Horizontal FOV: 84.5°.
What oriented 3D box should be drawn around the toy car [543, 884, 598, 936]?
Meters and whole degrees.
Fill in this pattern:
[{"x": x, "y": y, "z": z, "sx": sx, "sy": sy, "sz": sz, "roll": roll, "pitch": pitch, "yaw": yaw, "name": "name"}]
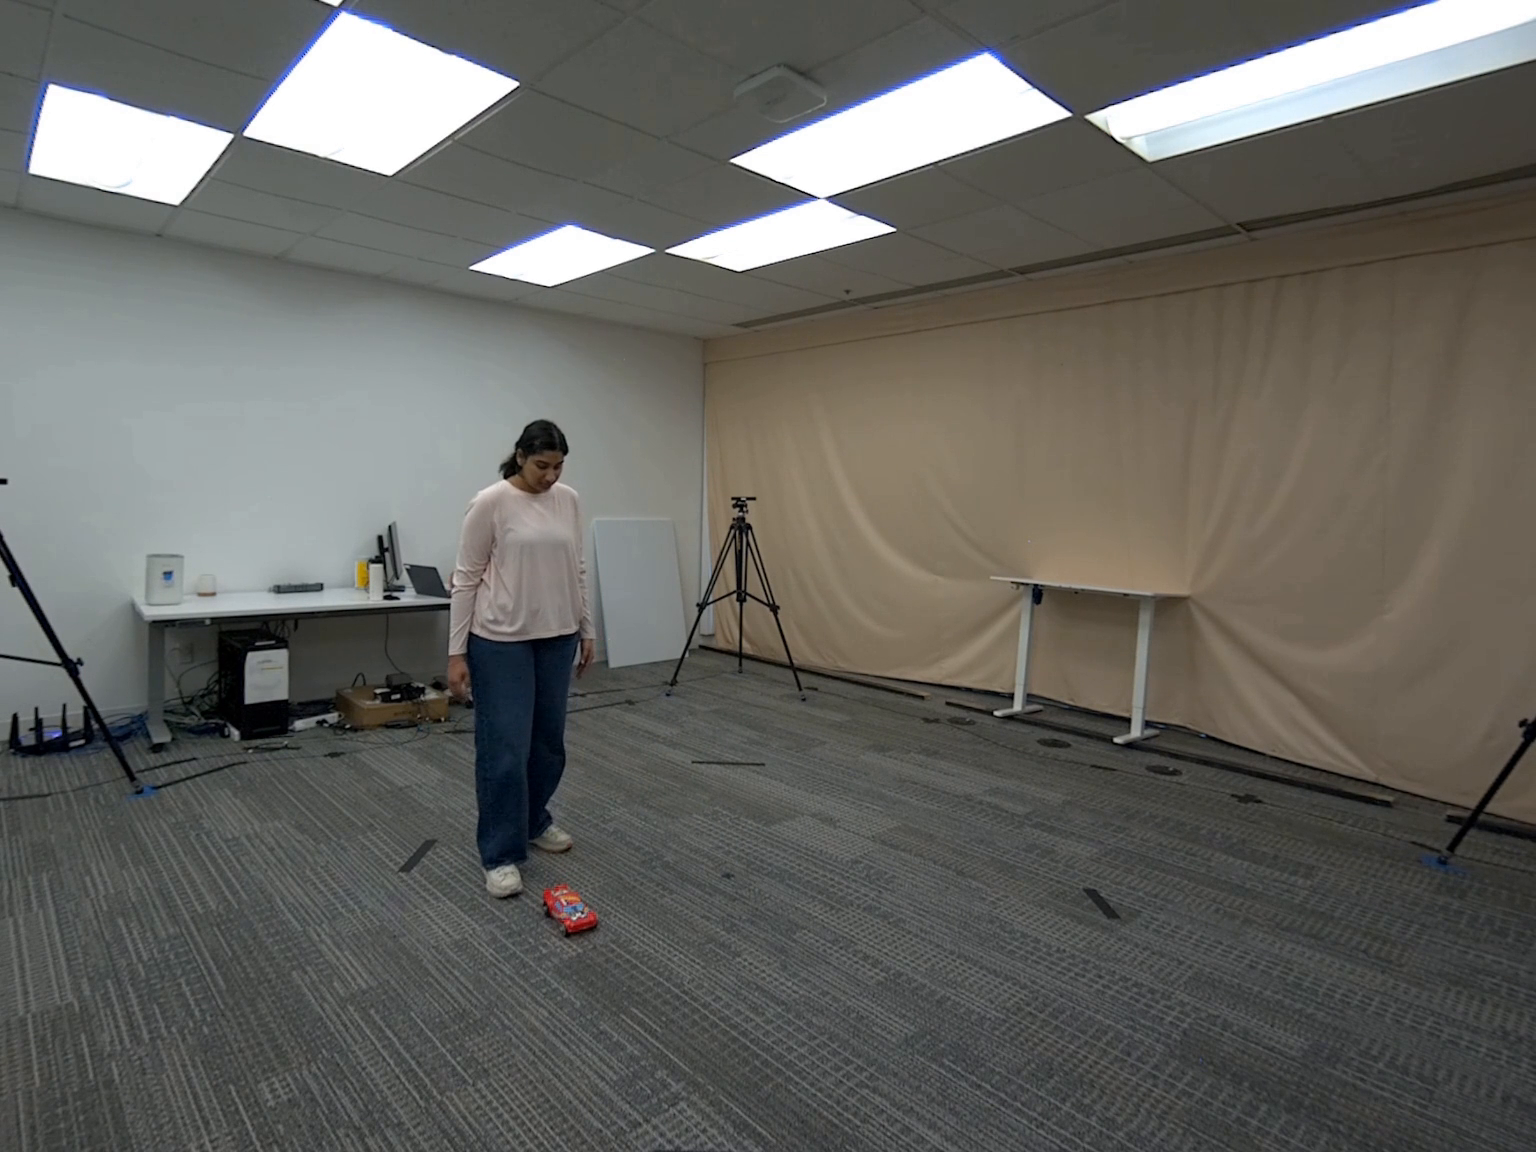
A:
[{"x": -0.665, "y": 1.096, "z": 2.758, "sx": 0.127, "sy": 0.082, "sz": 0.262, "roll": -3, "pitch": 18, "yaw": -33, "name": "toy car"}]
